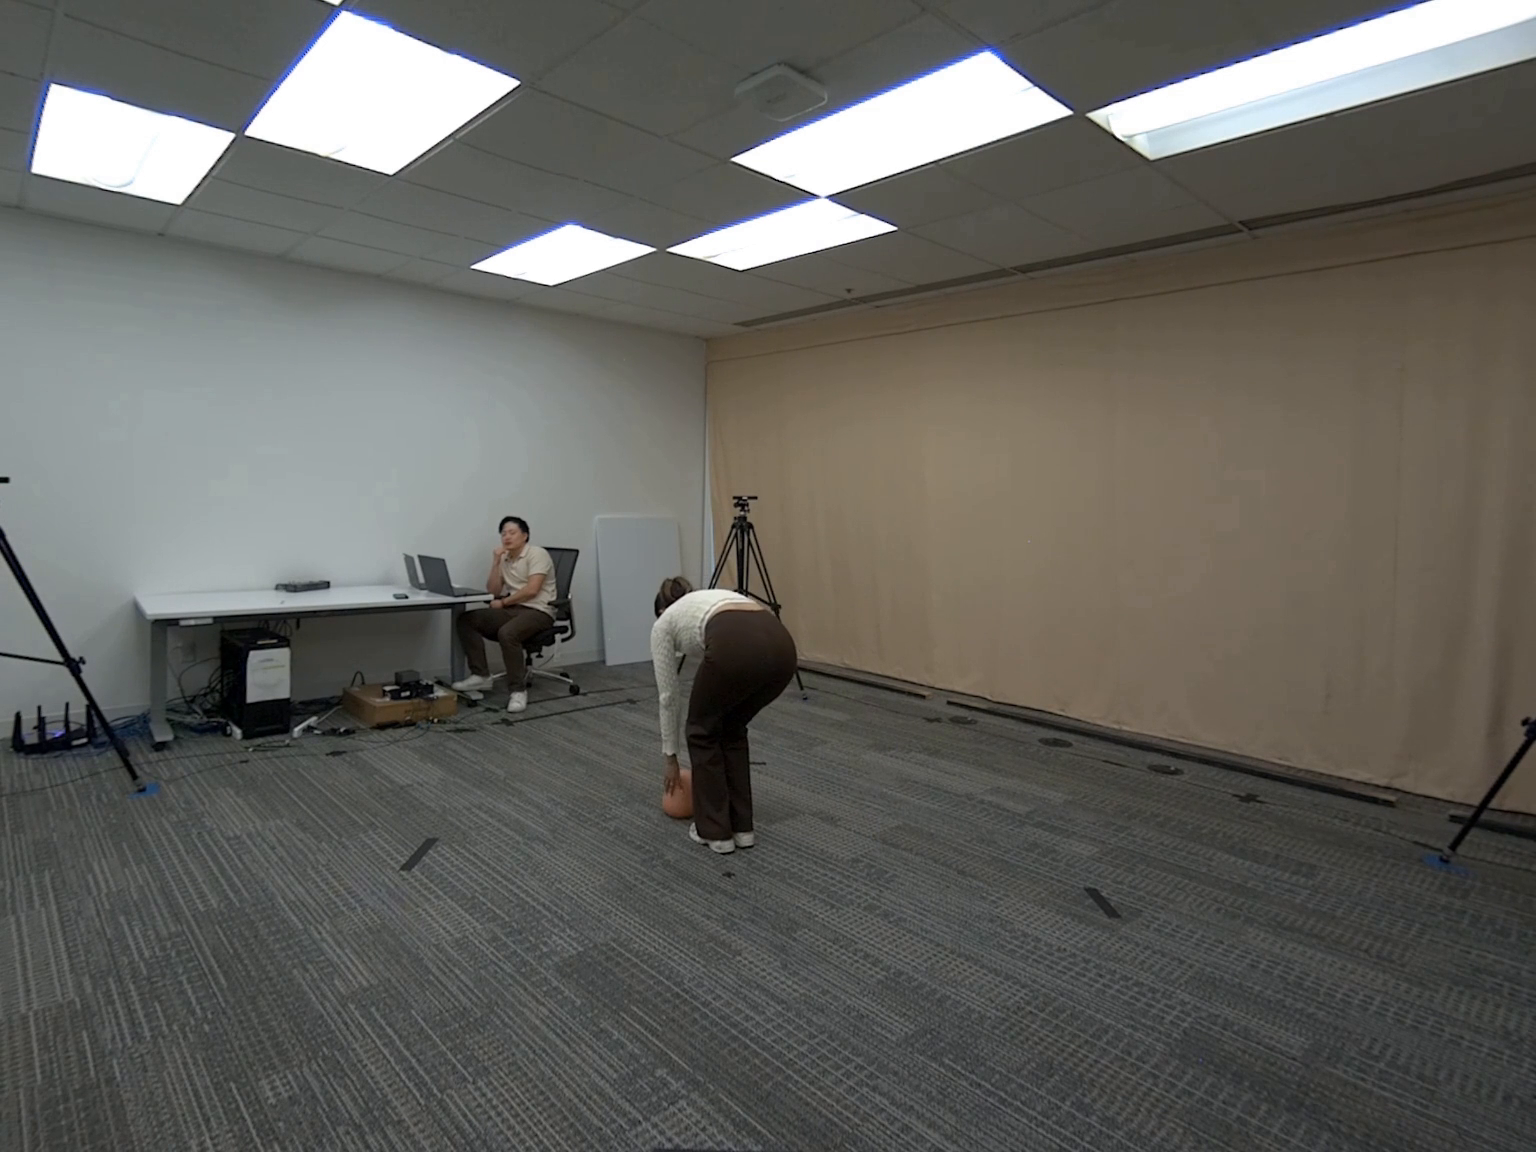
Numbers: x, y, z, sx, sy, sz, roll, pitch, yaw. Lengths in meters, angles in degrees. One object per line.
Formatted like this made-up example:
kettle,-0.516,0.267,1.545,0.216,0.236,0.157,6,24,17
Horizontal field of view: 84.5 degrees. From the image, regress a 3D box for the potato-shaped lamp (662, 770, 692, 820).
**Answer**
potato-shaped lamp,-0.385,0.942,3.679,0.162,0.197,0.175,1,5,-23
